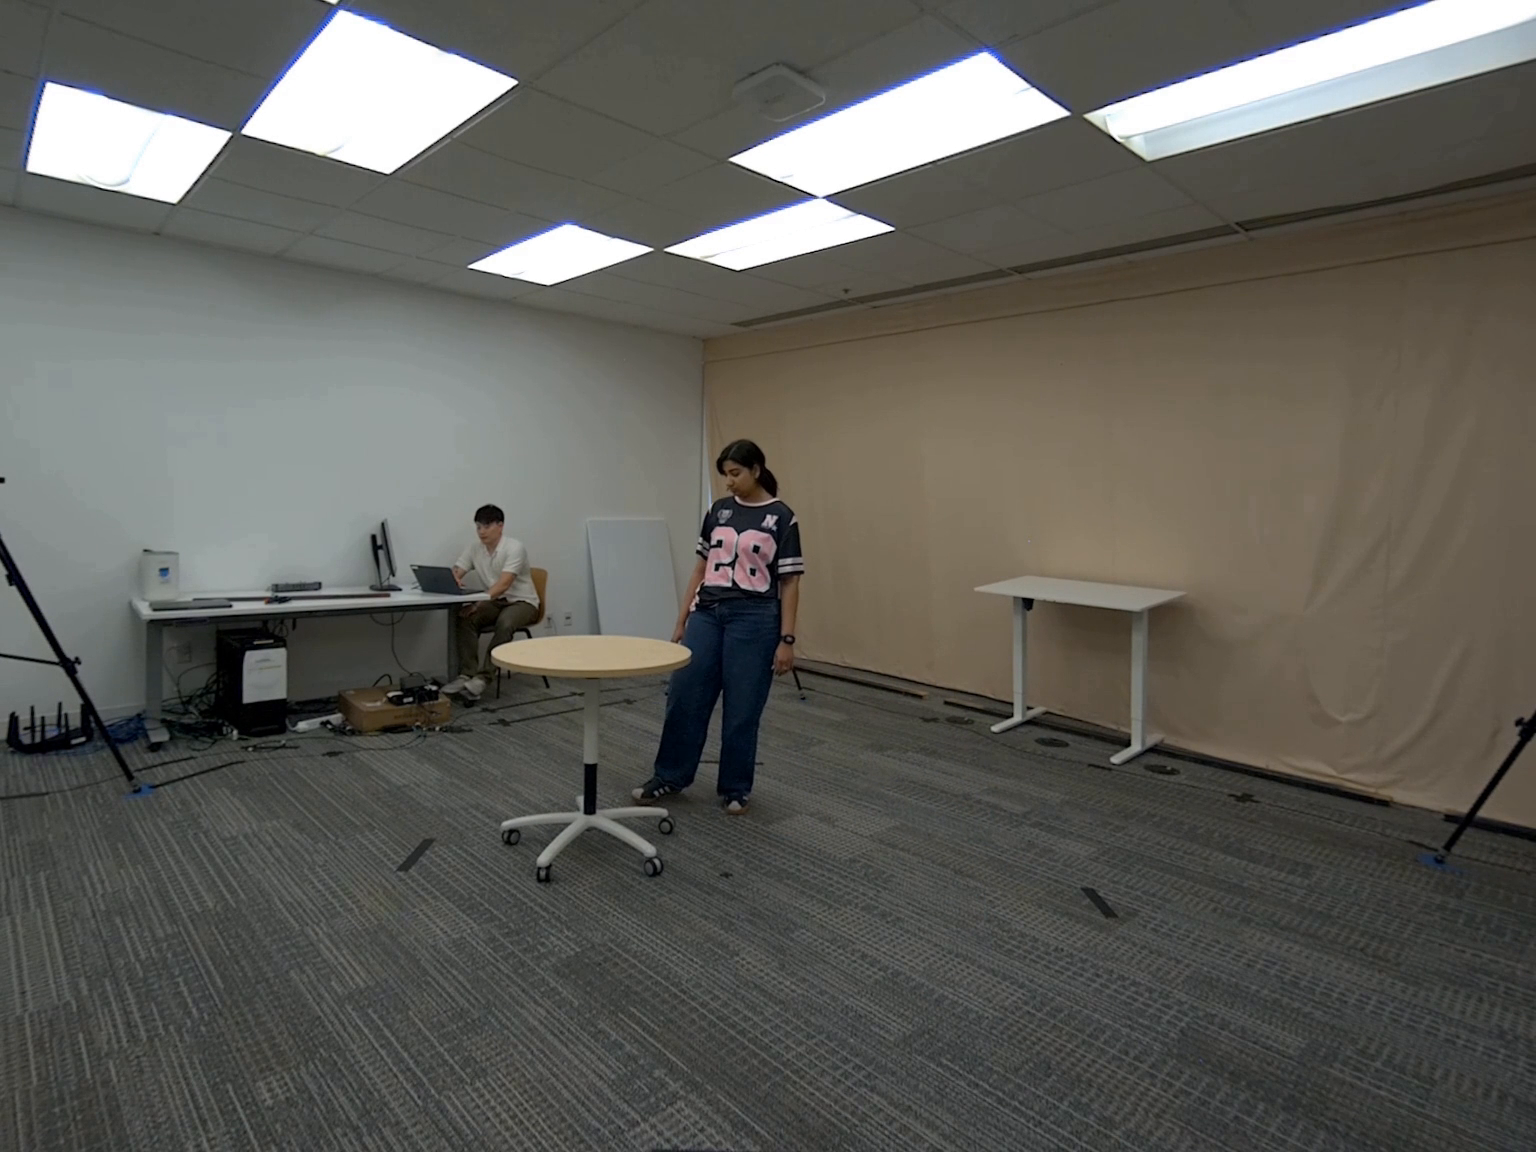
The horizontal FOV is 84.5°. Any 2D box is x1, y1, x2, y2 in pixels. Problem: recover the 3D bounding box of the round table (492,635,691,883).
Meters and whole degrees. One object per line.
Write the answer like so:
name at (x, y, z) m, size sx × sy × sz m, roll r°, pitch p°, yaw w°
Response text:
round table at (-0.701, 0.687, 3.294) m, size 0.763 × 0.792 × 0.766 m, roll 2°, pitch 4°, yaw -1°
